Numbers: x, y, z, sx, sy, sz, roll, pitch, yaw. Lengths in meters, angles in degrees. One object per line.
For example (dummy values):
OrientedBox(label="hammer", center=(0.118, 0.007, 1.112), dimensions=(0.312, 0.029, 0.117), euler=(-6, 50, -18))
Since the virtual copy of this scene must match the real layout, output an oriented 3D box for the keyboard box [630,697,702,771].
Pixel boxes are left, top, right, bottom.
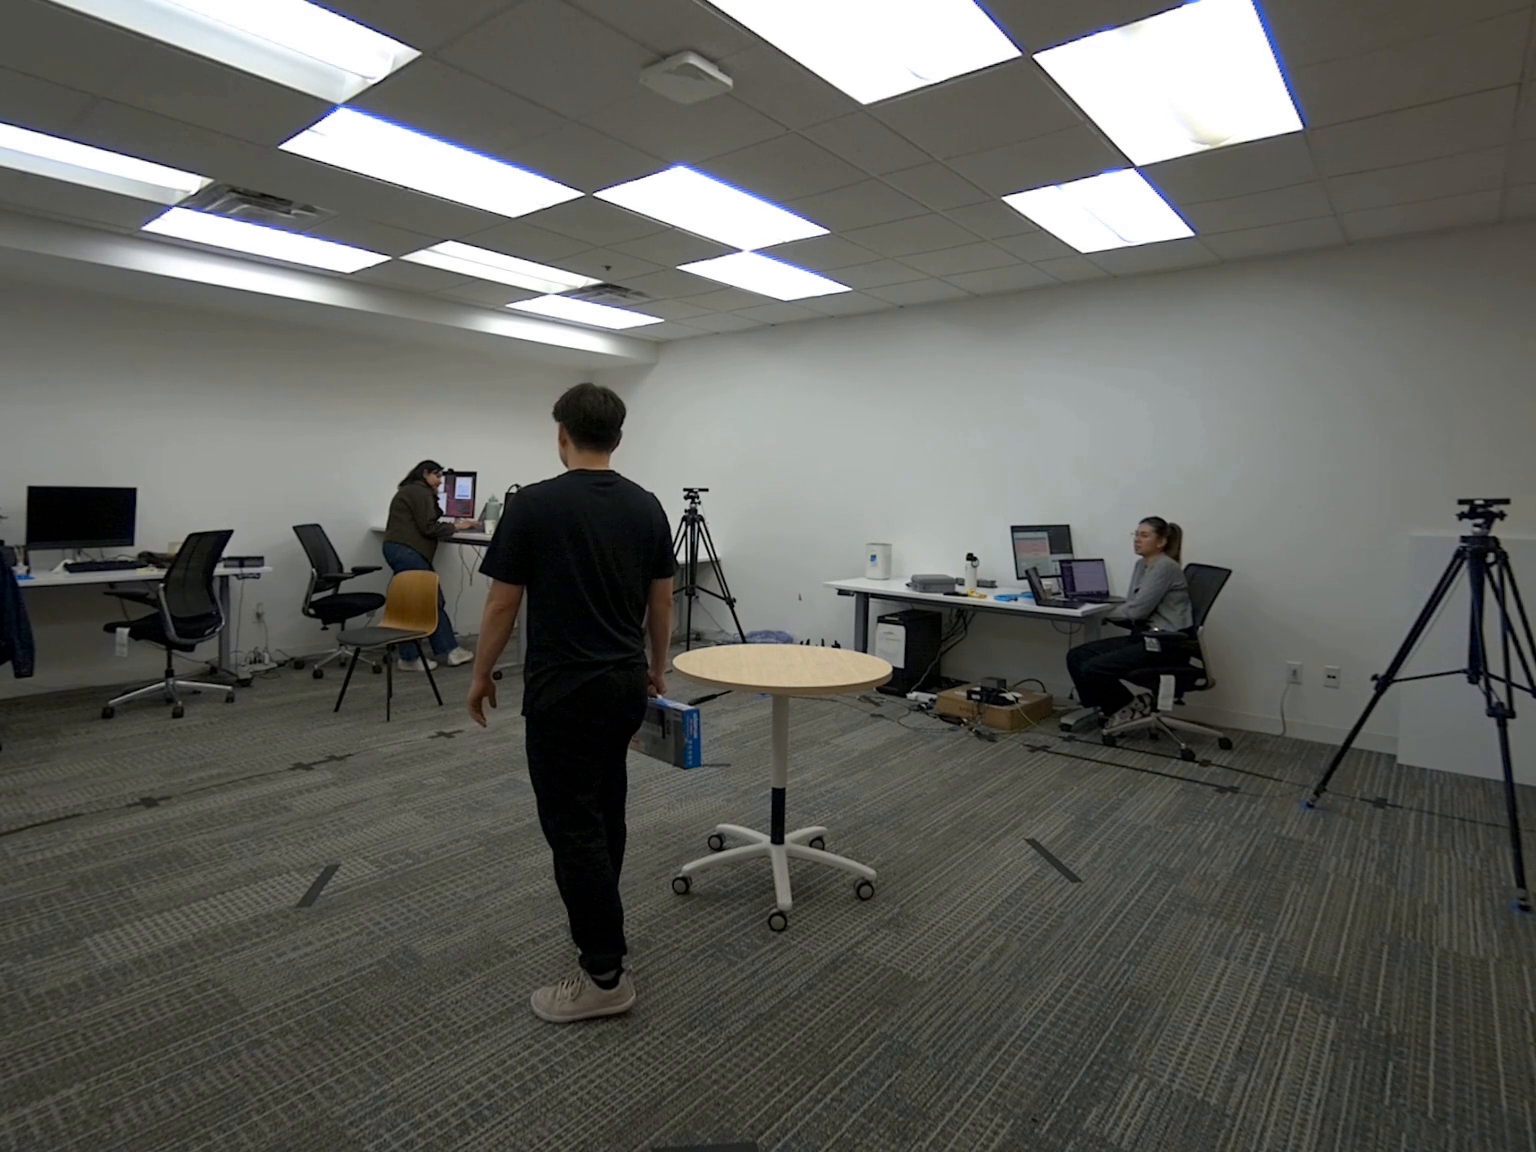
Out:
OrientedBox(label="keyboard box", center=(-0.369, 0.460, 2.632), dimensions=(0.057, 0.176, 0.451), euler=(-1, 3, -39))
